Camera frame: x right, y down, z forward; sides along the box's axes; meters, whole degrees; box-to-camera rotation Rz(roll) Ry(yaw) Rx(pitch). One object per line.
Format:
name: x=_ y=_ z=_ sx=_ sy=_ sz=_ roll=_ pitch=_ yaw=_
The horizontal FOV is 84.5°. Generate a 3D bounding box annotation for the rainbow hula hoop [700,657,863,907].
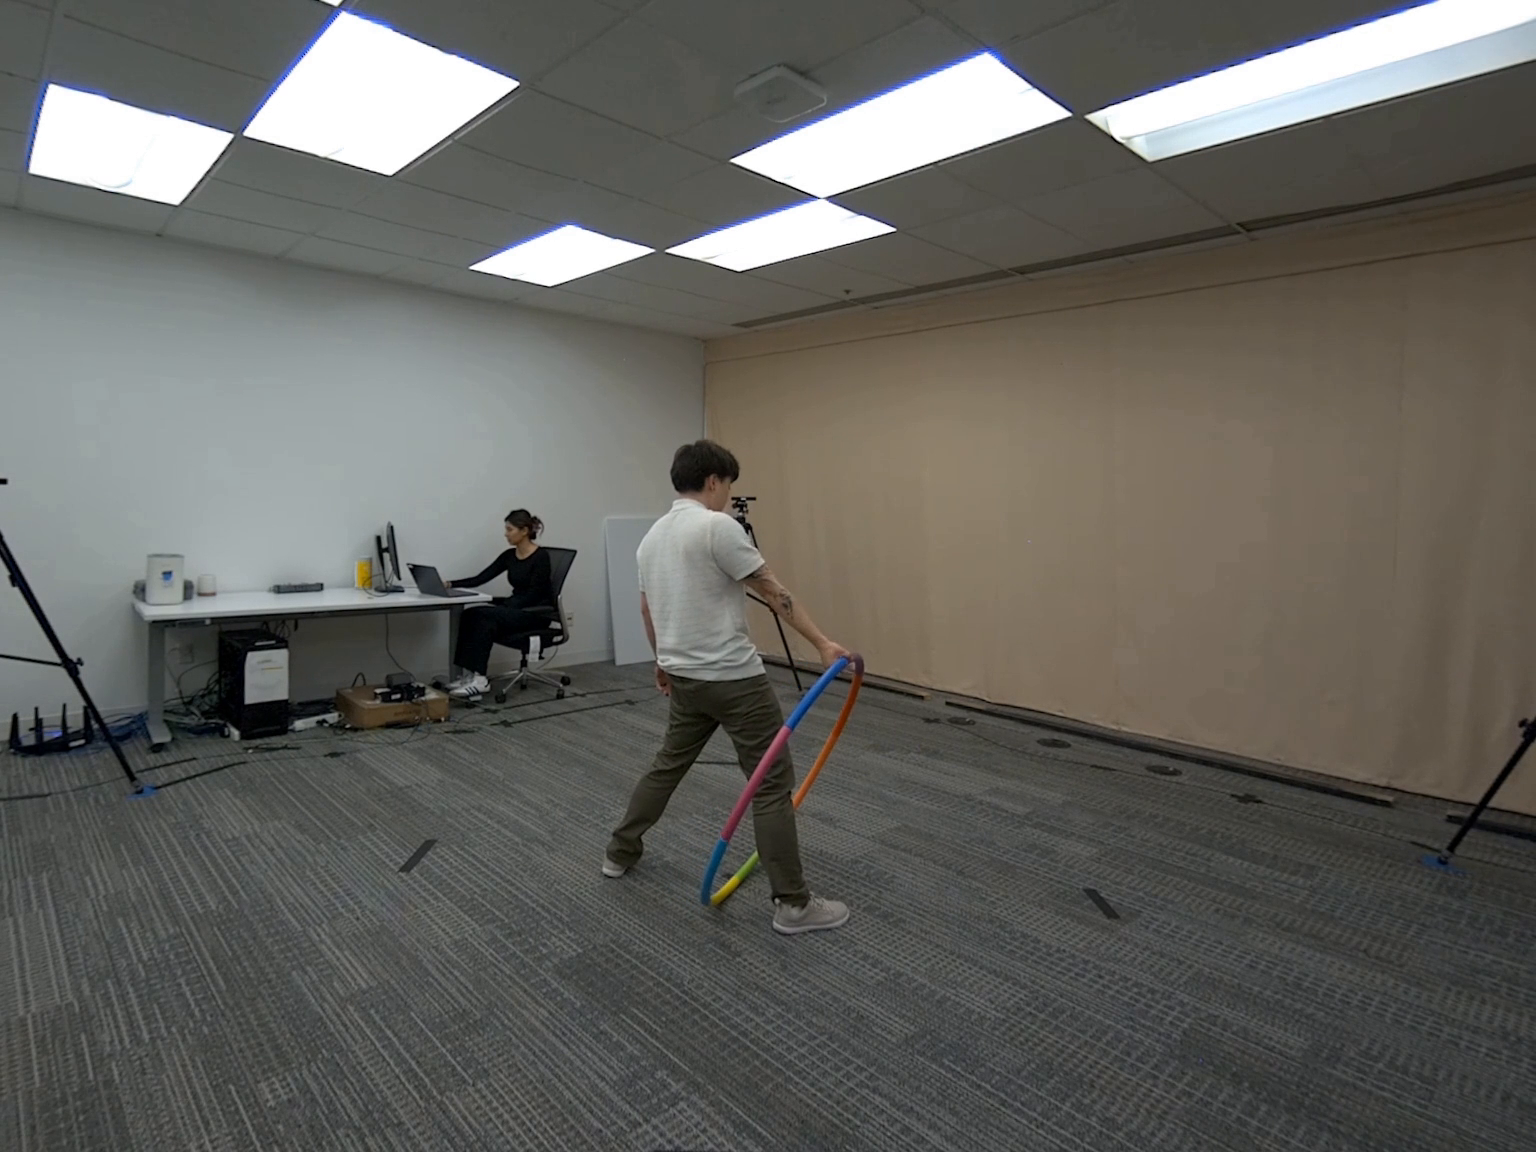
rainbow hula hoop: x=0.058 y=0.686 z=2.888 sx=0.036 sy=0.974 sz=0.964 roll=31 pitch=14 yaw=17
